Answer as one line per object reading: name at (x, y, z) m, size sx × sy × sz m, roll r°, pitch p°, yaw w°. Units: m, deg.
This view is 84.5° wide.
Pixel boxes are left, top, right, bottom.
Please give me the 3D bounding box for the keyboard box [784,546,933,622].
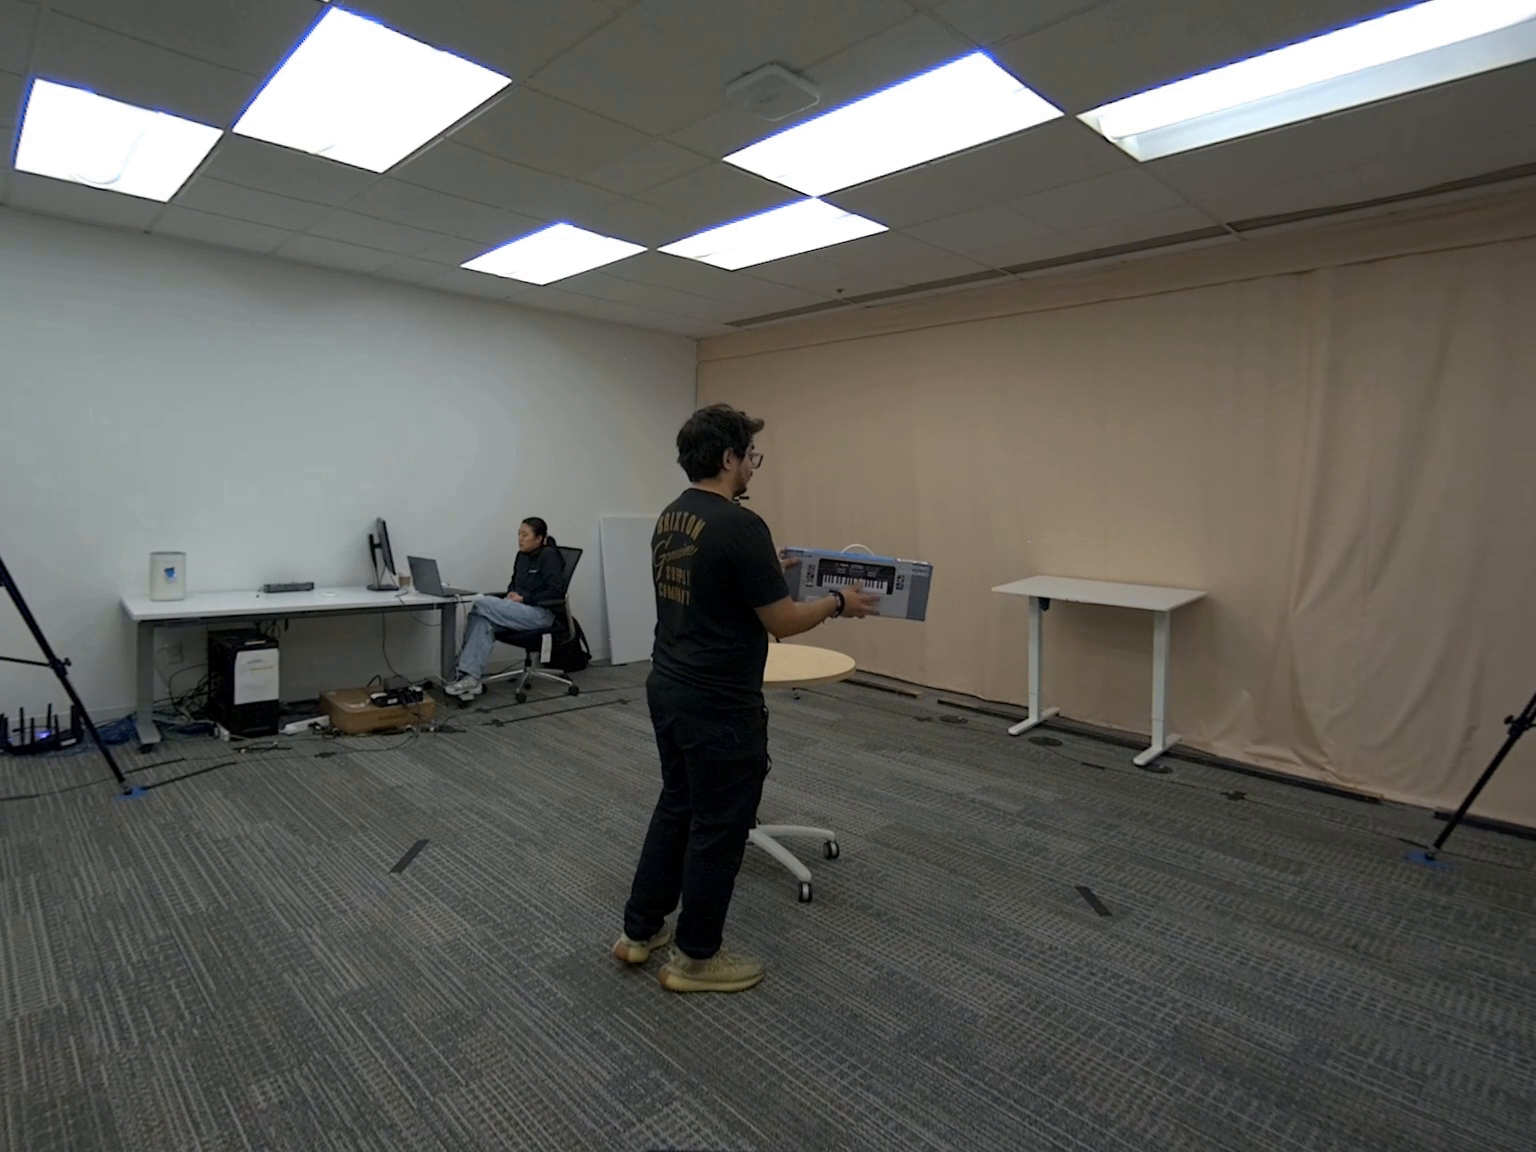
keyboard box at (0.262, 0.027, 2.520) m, size 0.437 × 0.175 × 0.059 m, roll 5°, pitch 8°, yaw 2°
